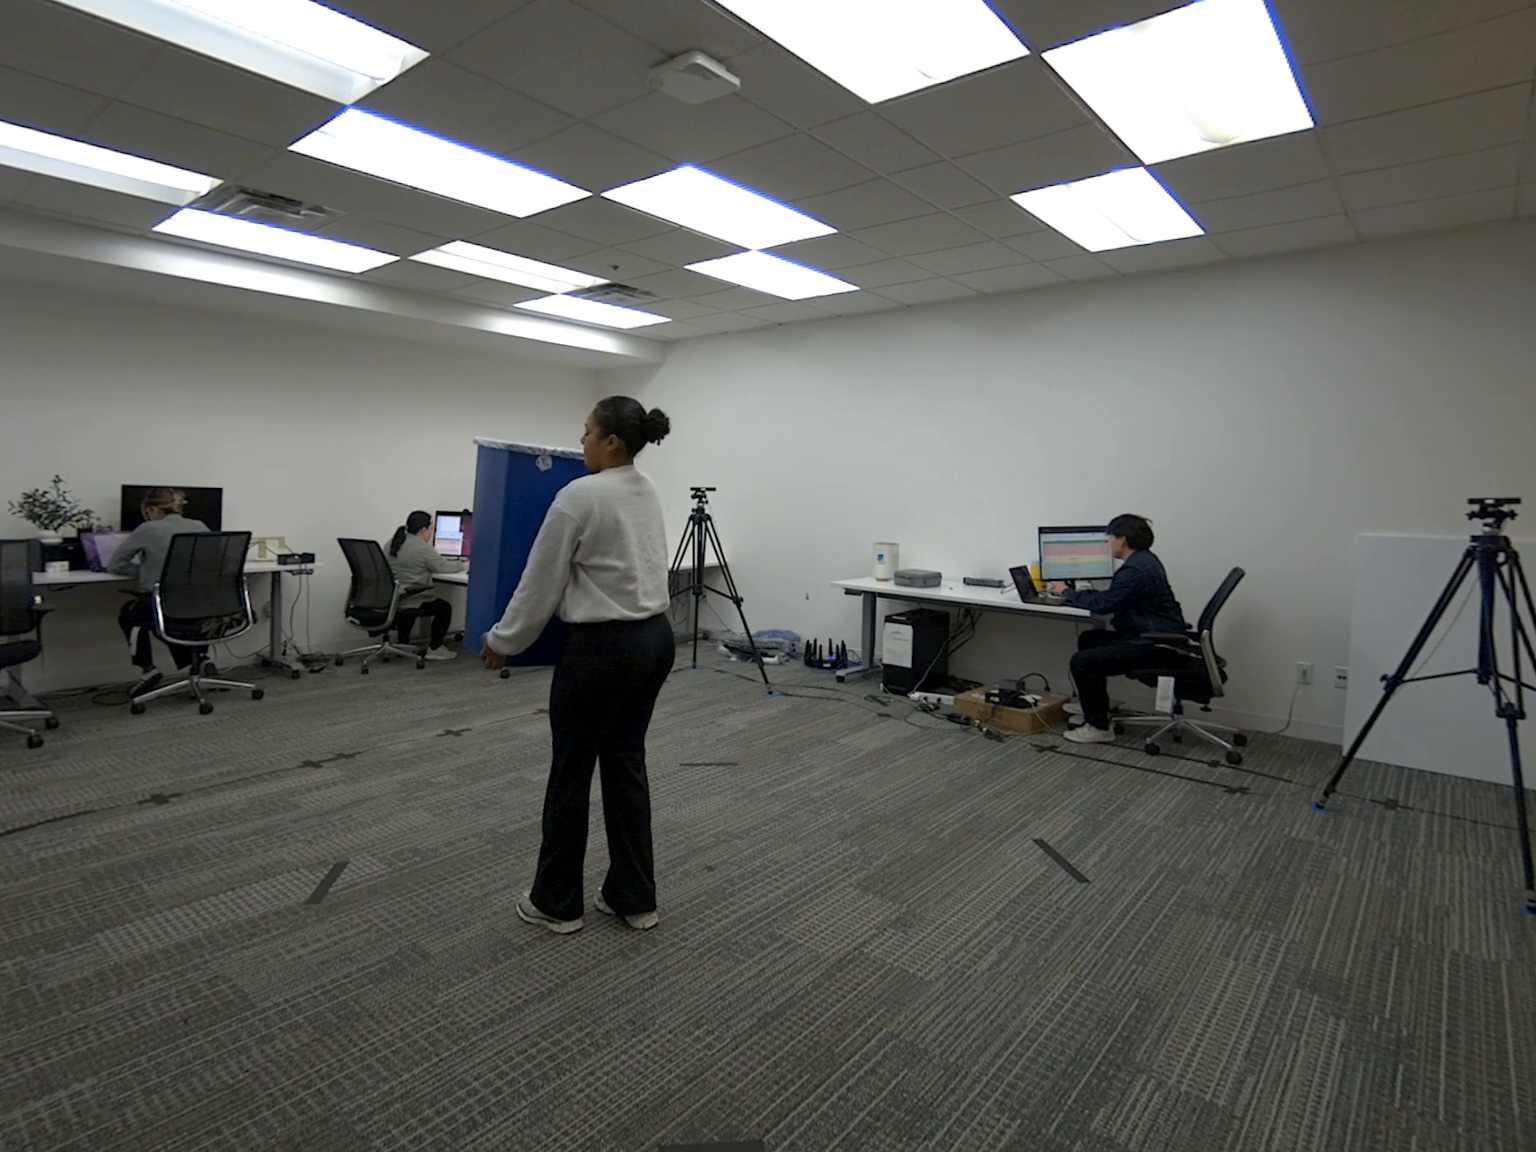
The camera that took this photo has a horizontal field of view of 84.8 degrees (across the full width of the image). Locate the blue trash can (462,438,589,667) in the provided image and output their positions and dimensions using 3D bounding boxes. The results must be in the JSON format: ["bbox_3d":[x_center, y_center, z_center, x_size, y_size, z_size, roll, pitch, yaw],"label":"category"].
[{"bbox_3d":[-0.810,-0.092,2.874,0.362,0.710,0.392,3,7,-35],"label":"blue trash can"}]
